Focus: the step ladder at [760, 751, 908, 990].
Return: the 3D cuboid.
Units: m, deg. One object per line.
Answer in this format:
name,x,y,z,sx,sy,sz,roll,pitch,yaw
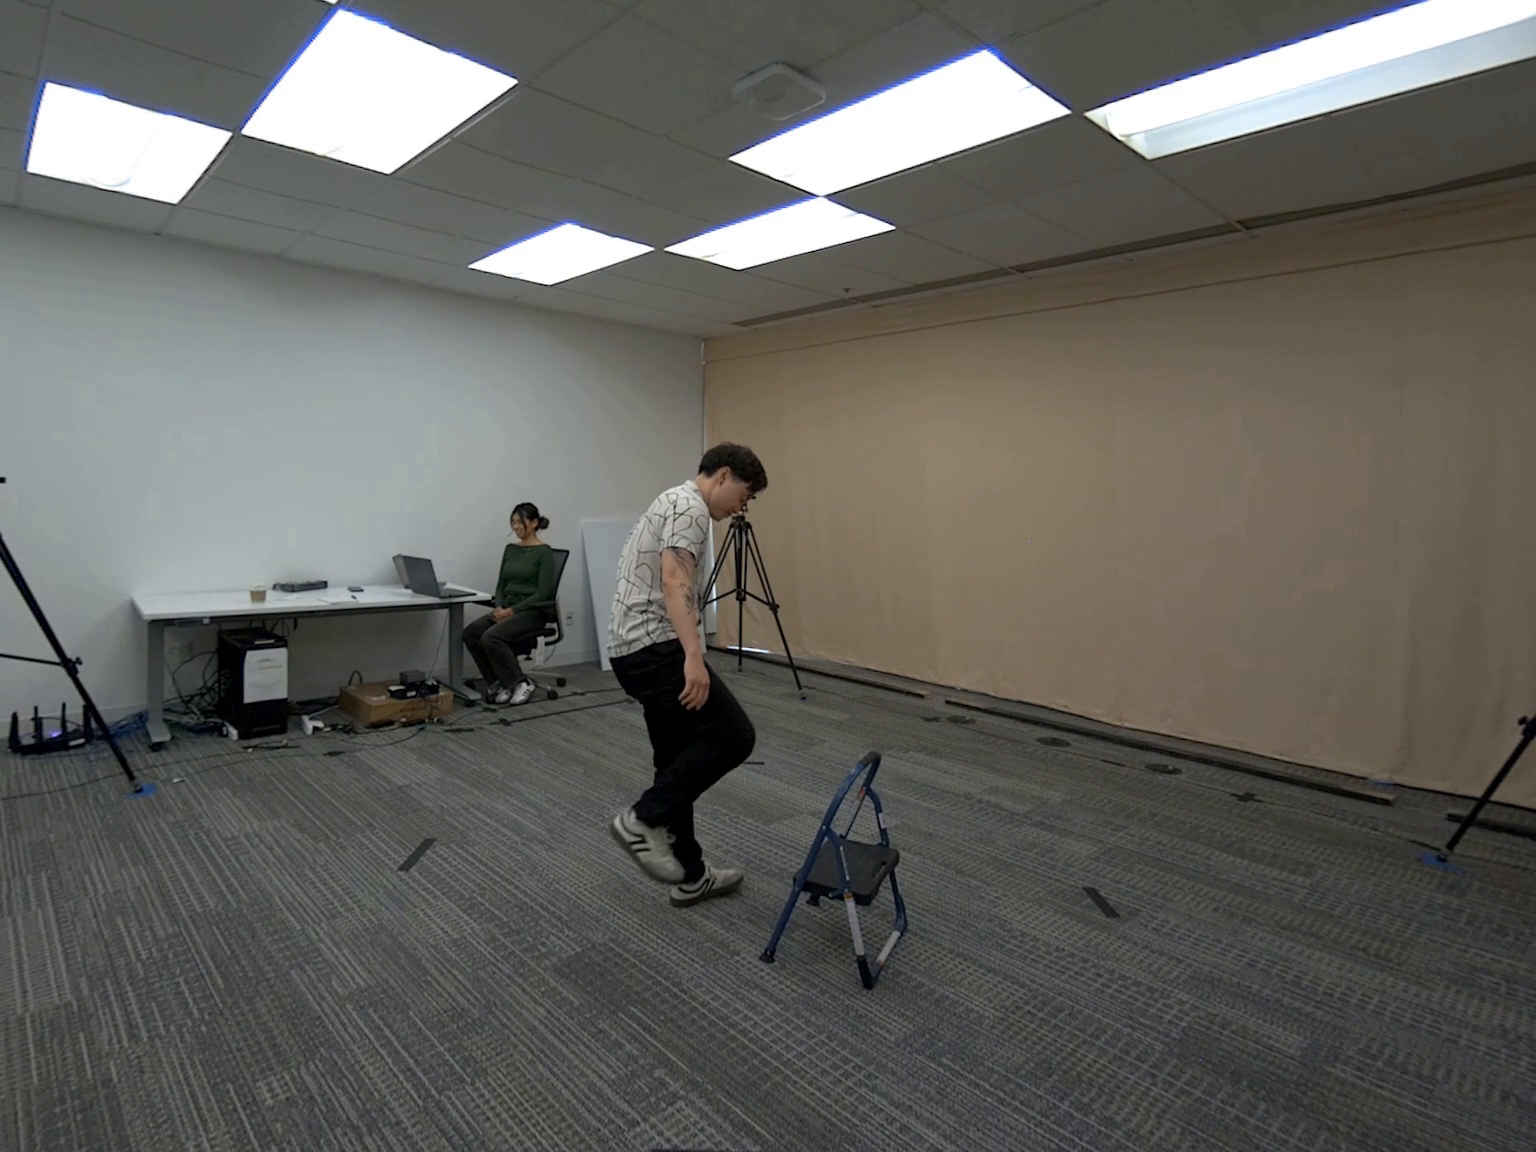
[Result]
step ladder,0.223,0.851,2.621,0.356,0.604,0.423,4,5,24
